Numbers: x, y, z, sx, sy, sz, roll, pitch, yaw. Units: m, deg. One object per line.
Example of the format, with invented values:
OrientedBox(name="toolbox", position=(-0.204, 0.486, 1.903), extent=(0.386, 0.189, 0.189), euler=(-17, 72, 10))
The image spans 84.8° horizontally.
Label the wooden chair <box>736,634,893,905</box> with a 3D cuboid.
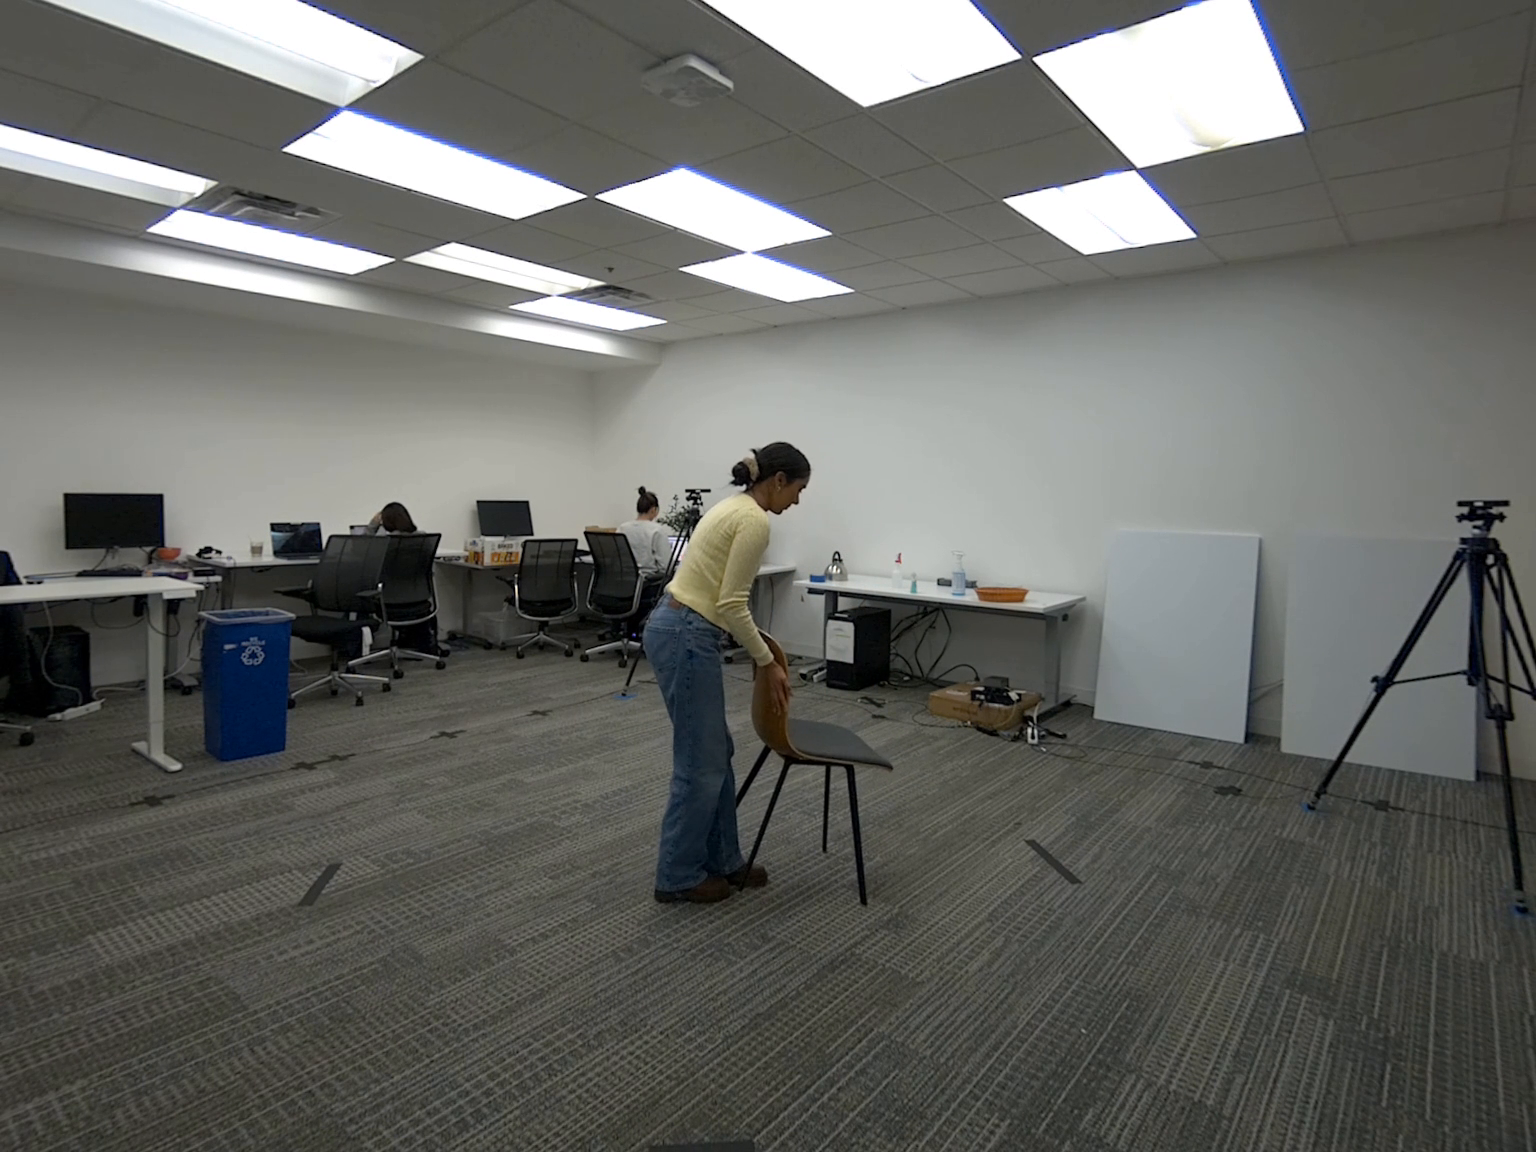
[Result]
OrientedBox(name="wooden chair", position=(0.148, 0.636, 3.035), extent=(0.516, 0.877, 0.485), euler=(5, 1, -13))
